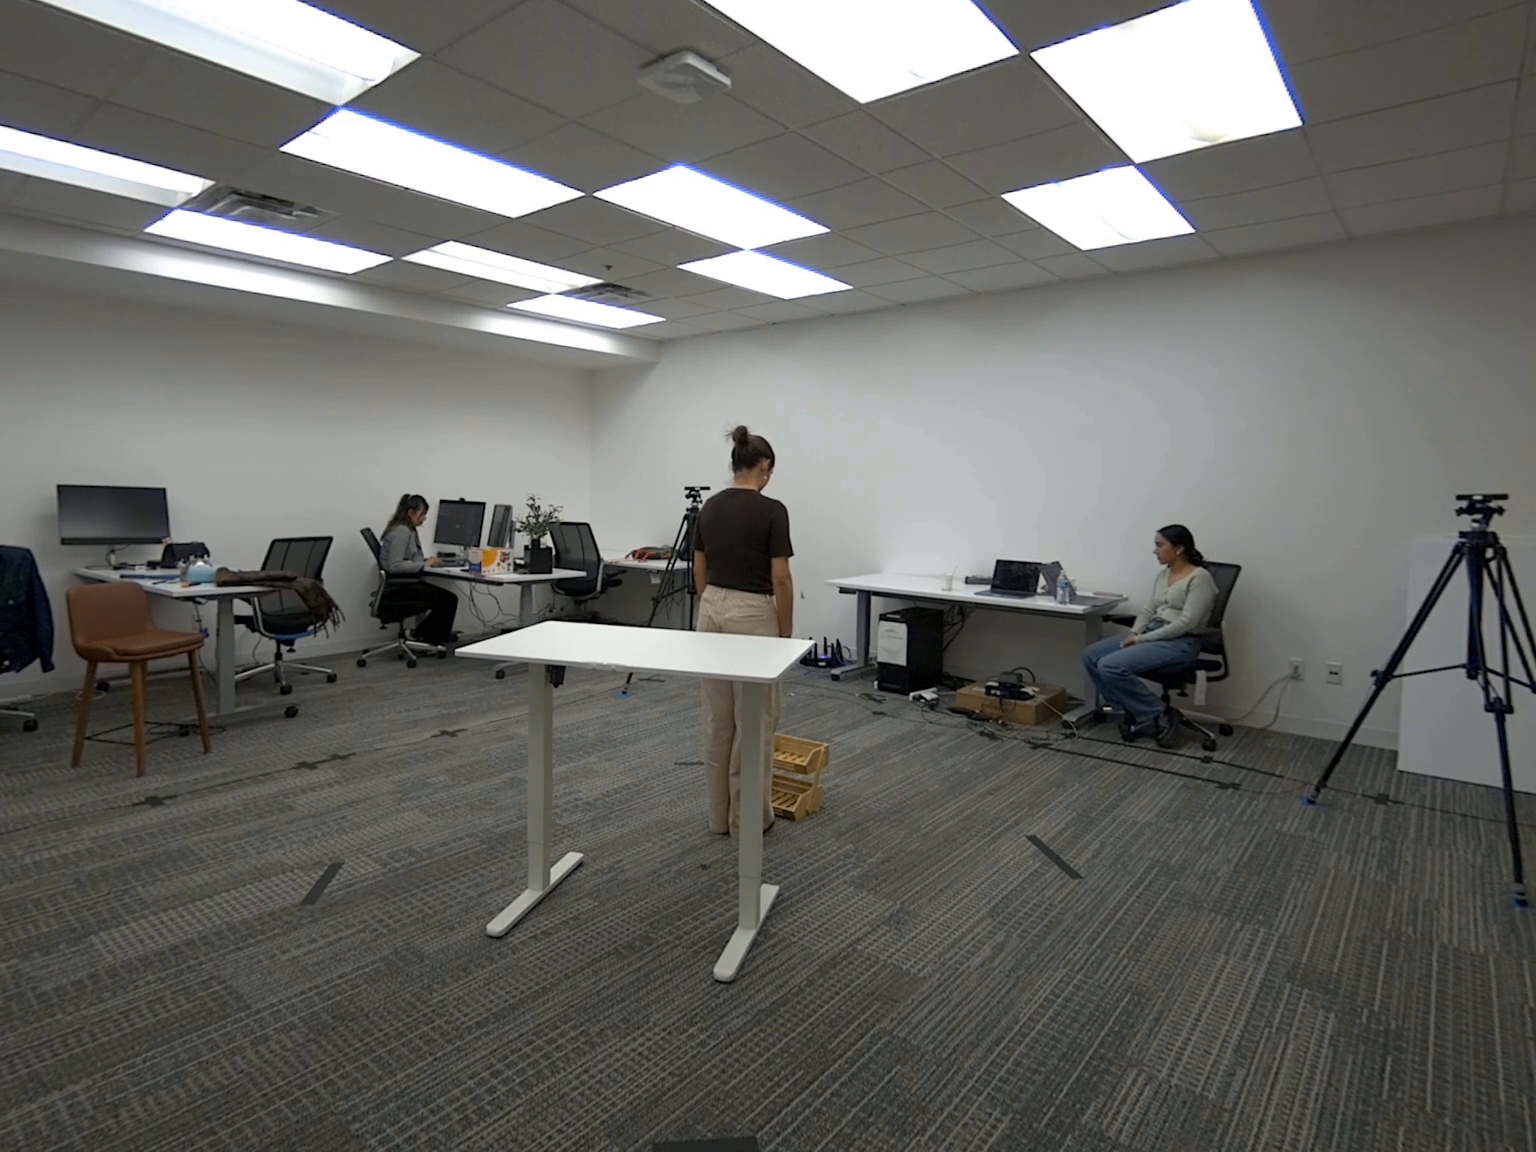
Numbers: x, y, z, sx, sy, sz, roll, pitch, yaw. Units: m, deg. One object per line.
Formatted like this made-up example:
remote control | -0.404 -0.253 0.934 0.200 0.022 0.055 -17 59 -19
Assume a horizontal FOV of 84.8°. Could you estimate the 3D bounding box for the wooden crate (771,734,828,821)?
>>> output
wooden crate | 0.054 0.869 3.751 0.335 0.272 0.293 4 4 33
